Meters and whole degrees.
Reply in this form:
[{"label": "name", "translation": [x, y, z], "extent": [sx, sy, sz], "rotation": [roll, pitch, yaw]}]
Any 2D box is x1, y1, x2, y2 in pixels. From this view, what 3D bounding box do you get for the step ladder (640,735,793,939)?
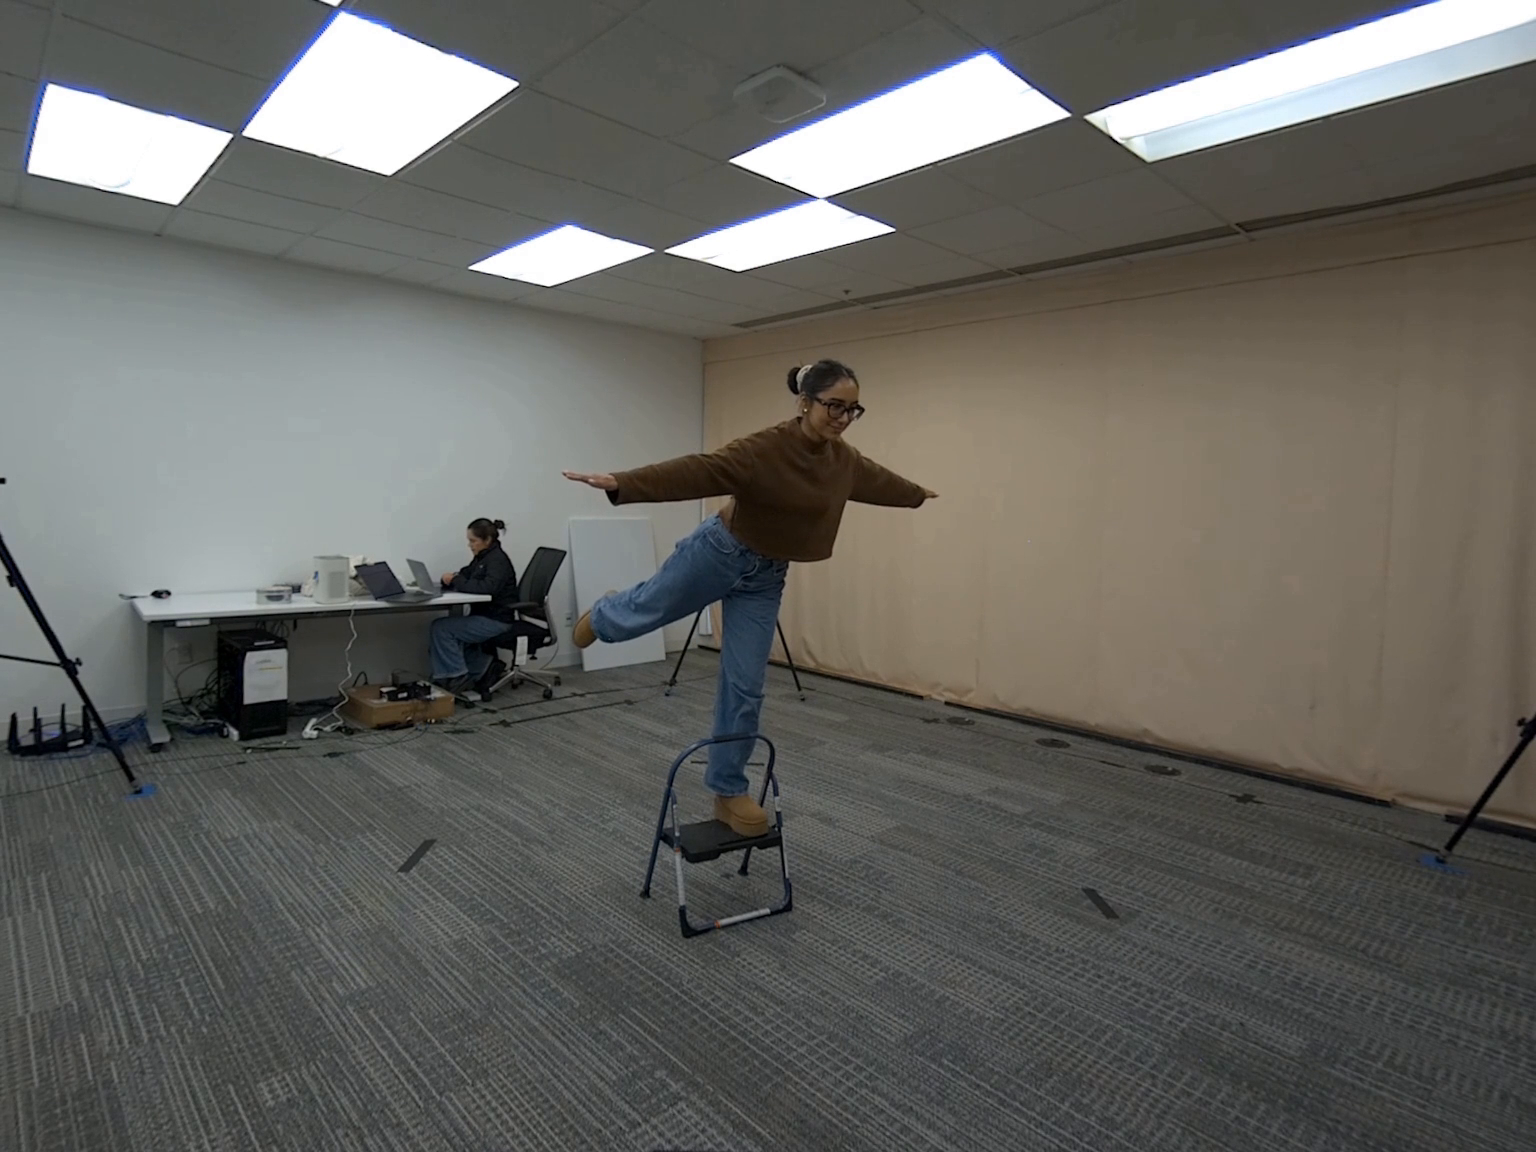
[{"label": "step ladder", "translation": [-0.176, 0.825, 2.880], "extent": [0.421, 0.604, 0.357], "rotation": [0, 4, -32]}]
